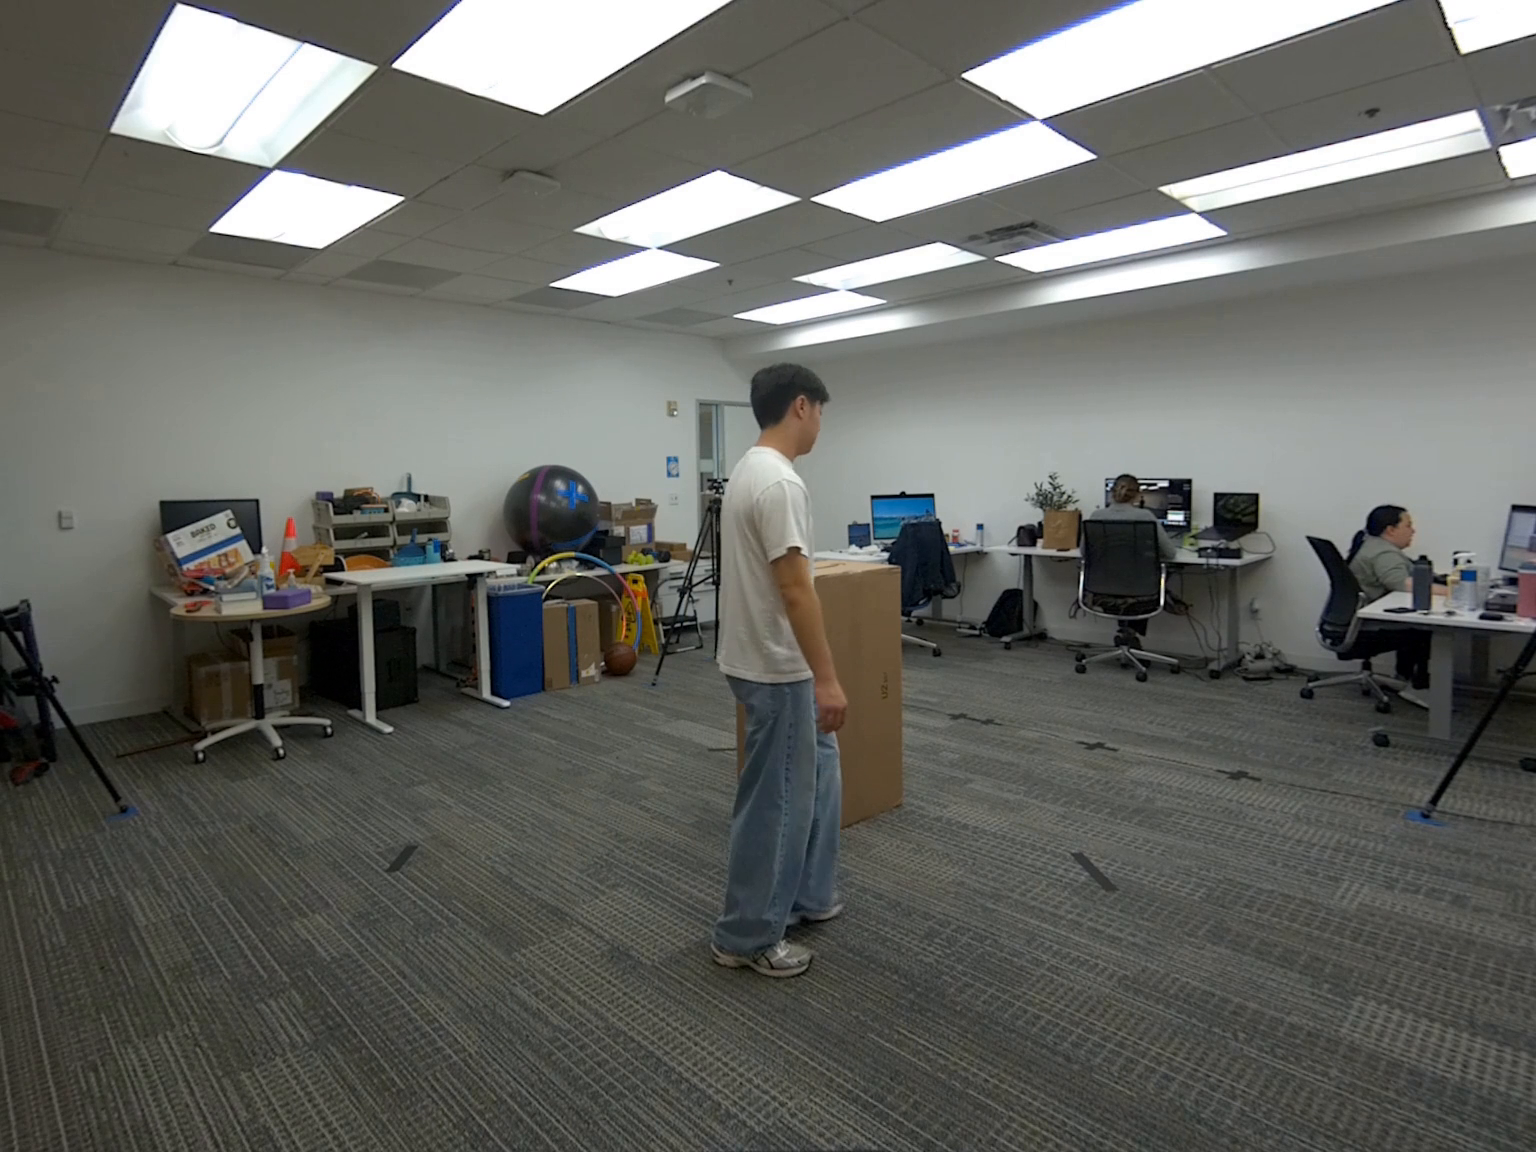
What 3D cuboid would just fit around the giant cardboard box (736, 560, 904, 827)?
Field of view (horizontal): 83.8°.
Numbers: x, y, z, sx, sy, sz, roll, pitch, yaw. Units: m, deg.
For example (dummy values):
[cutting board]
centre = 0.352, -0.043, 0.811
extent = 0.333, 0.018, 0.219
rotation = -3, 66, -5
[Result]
[giant cardboard box]
centre = 0.215, 0.476, 3.599
extent = 0.562, 1.022, 0.439
rotation = -5, 5, -40
